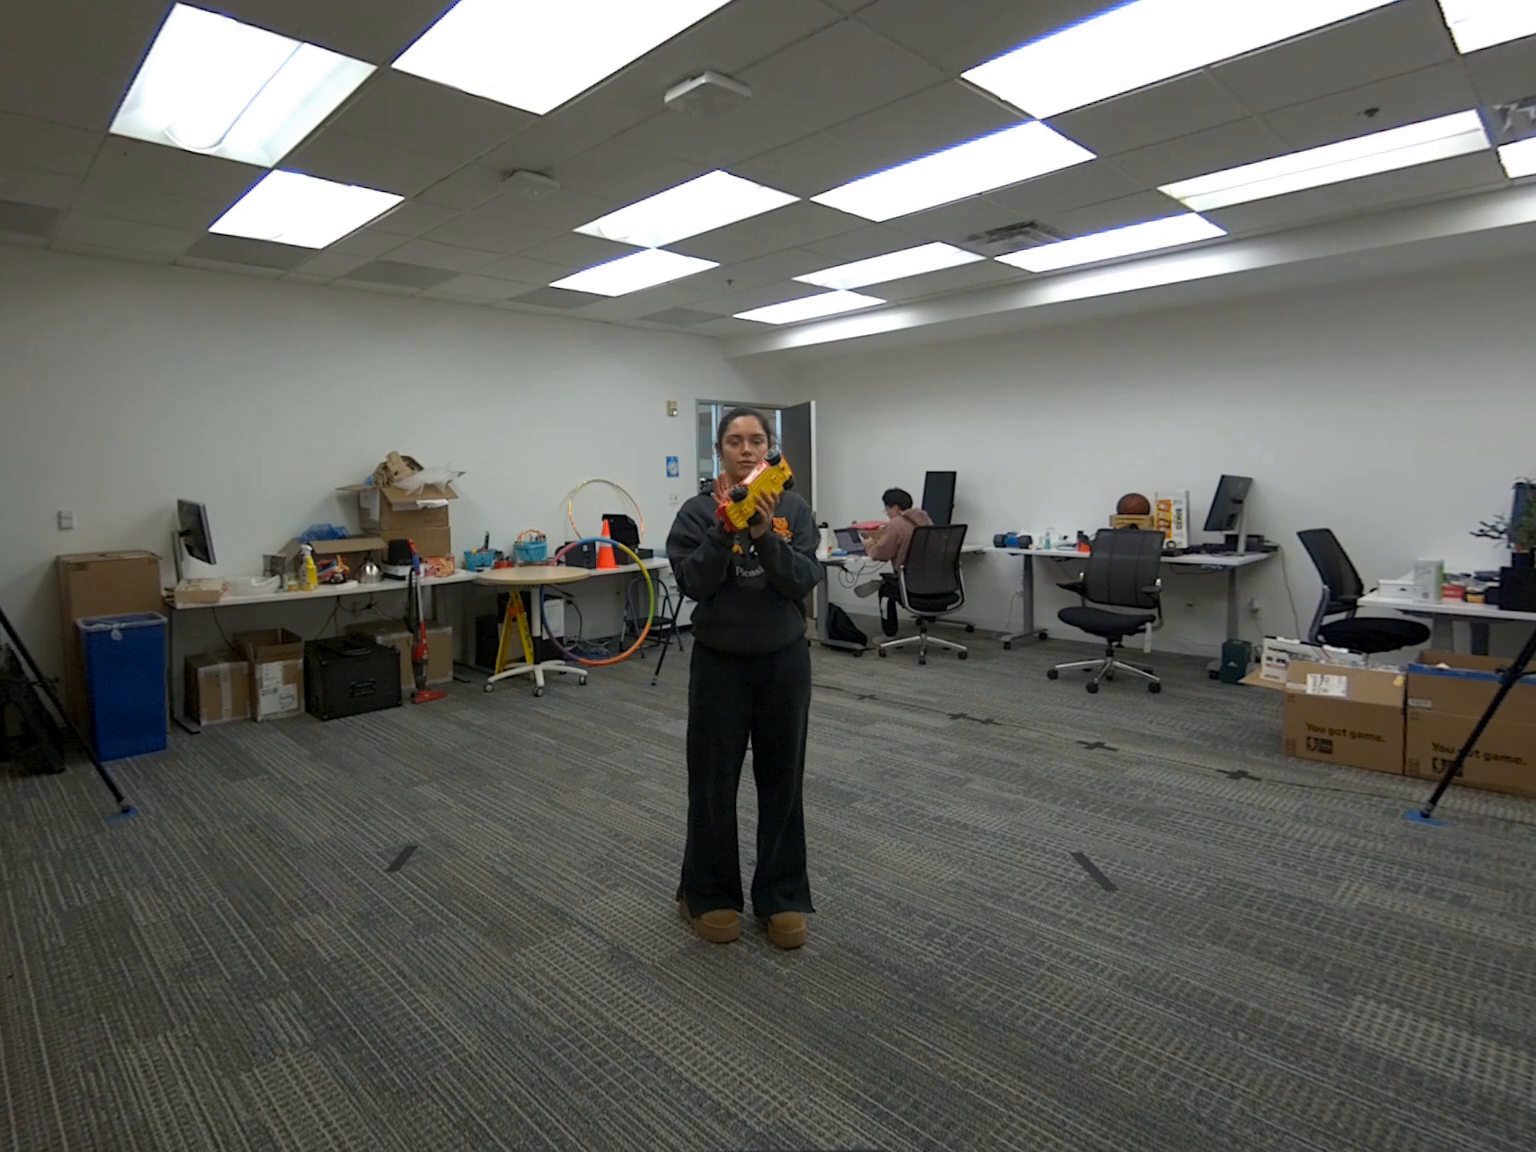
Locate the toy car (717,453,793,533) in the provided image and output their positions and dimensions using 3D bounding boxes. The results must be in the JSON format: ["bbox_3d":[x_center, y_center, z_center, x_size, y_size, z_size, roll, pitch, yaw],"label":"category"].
[{"bbox_3d":[-0.040,-0.224,2.293,0.254,0.126,0.086,-43,33,-13],"label":"toy car"}]
